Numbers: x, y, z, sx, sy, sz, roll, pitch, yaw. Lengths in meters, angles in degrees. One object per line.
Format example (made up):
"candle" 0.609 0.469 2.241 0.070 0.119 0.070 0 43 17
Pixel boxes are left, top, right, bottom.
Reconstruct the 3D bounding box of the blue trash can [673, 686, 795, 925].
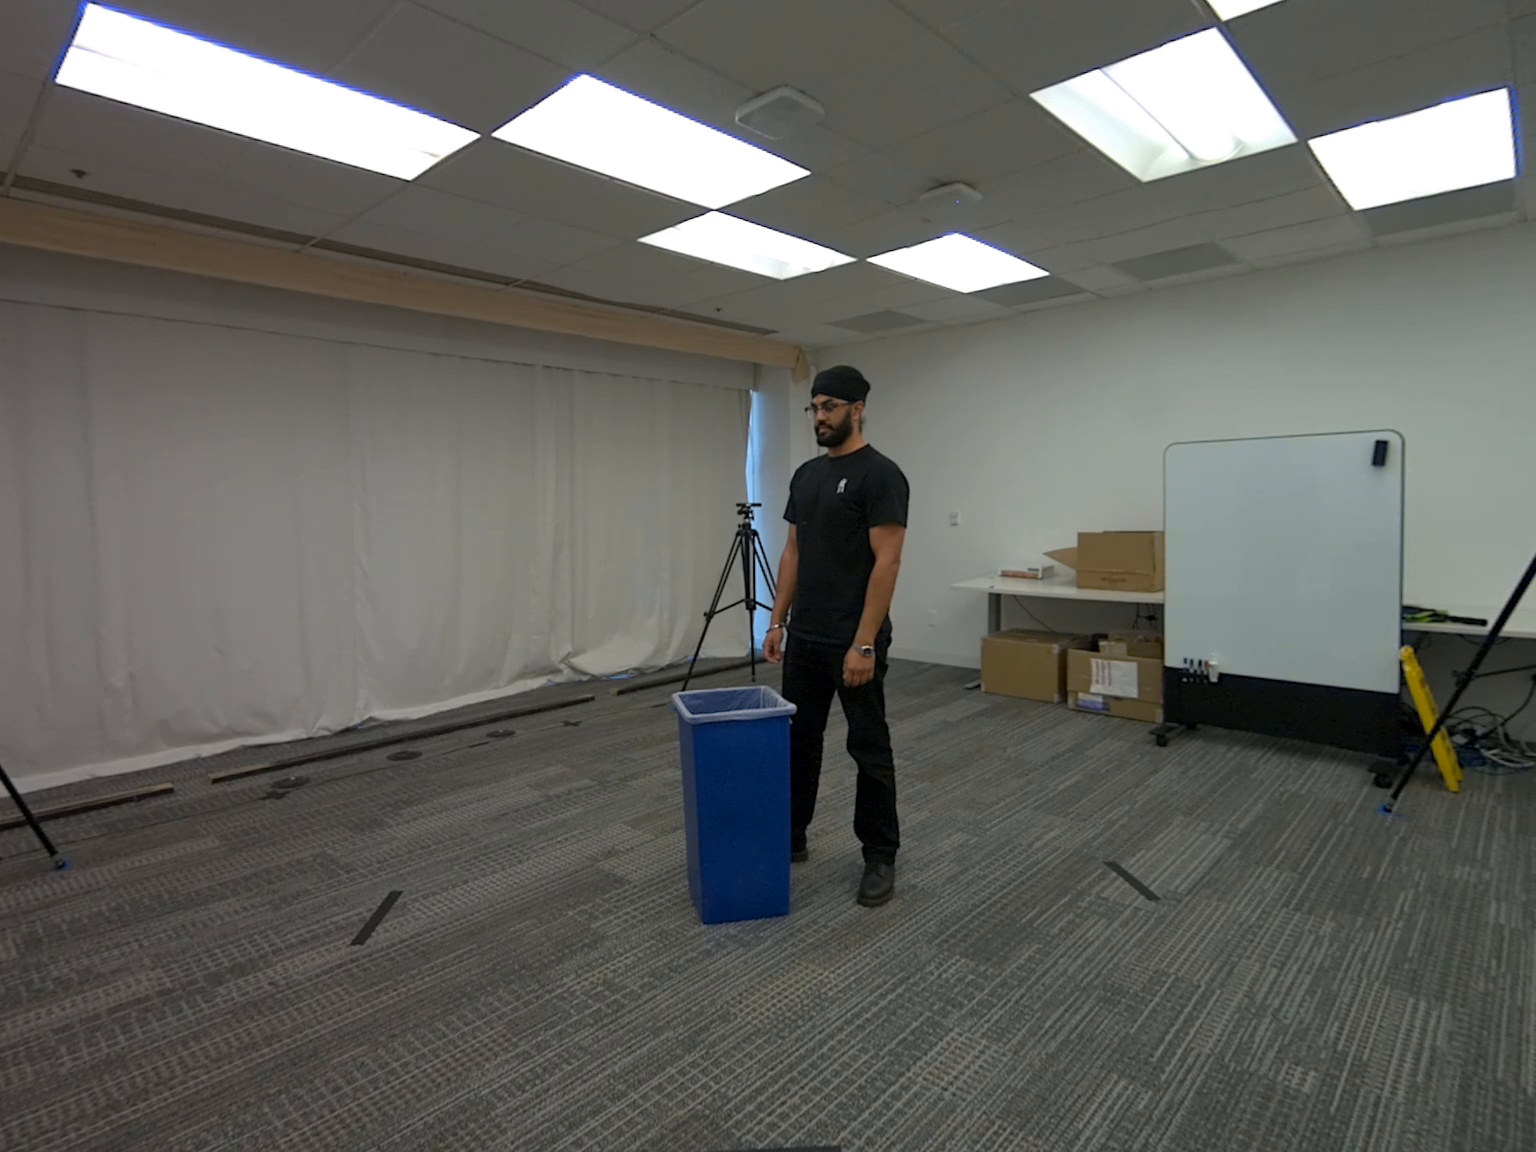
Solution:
"blue trash can" -0.109 0.781 2.946 0.369 0.712 0.384 -3 4 -13
